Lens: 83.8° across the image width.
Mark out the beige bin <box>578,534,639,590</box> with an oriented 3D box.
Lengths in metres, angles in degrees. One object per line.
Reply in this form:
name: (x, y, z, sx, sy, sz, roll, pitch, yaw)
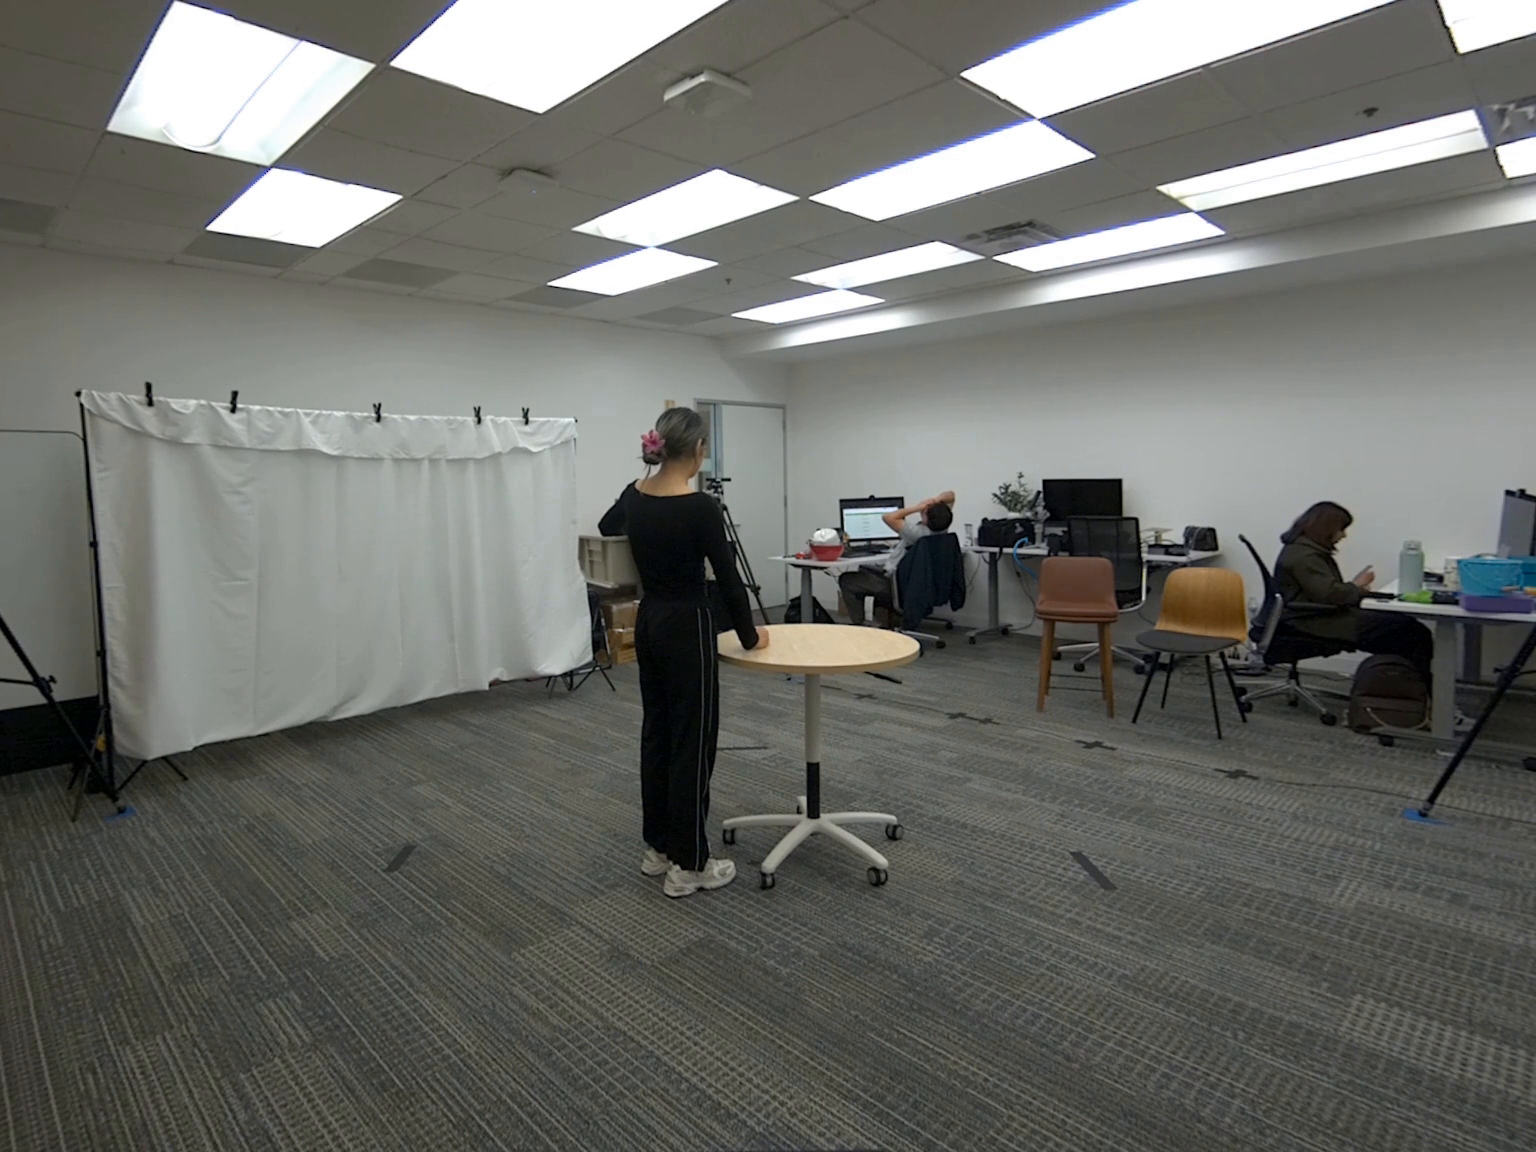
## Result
beige bin: (-0.460, -0.073, 3.212, 0.413, 0.188, 0.387, -5, 7, -27)
